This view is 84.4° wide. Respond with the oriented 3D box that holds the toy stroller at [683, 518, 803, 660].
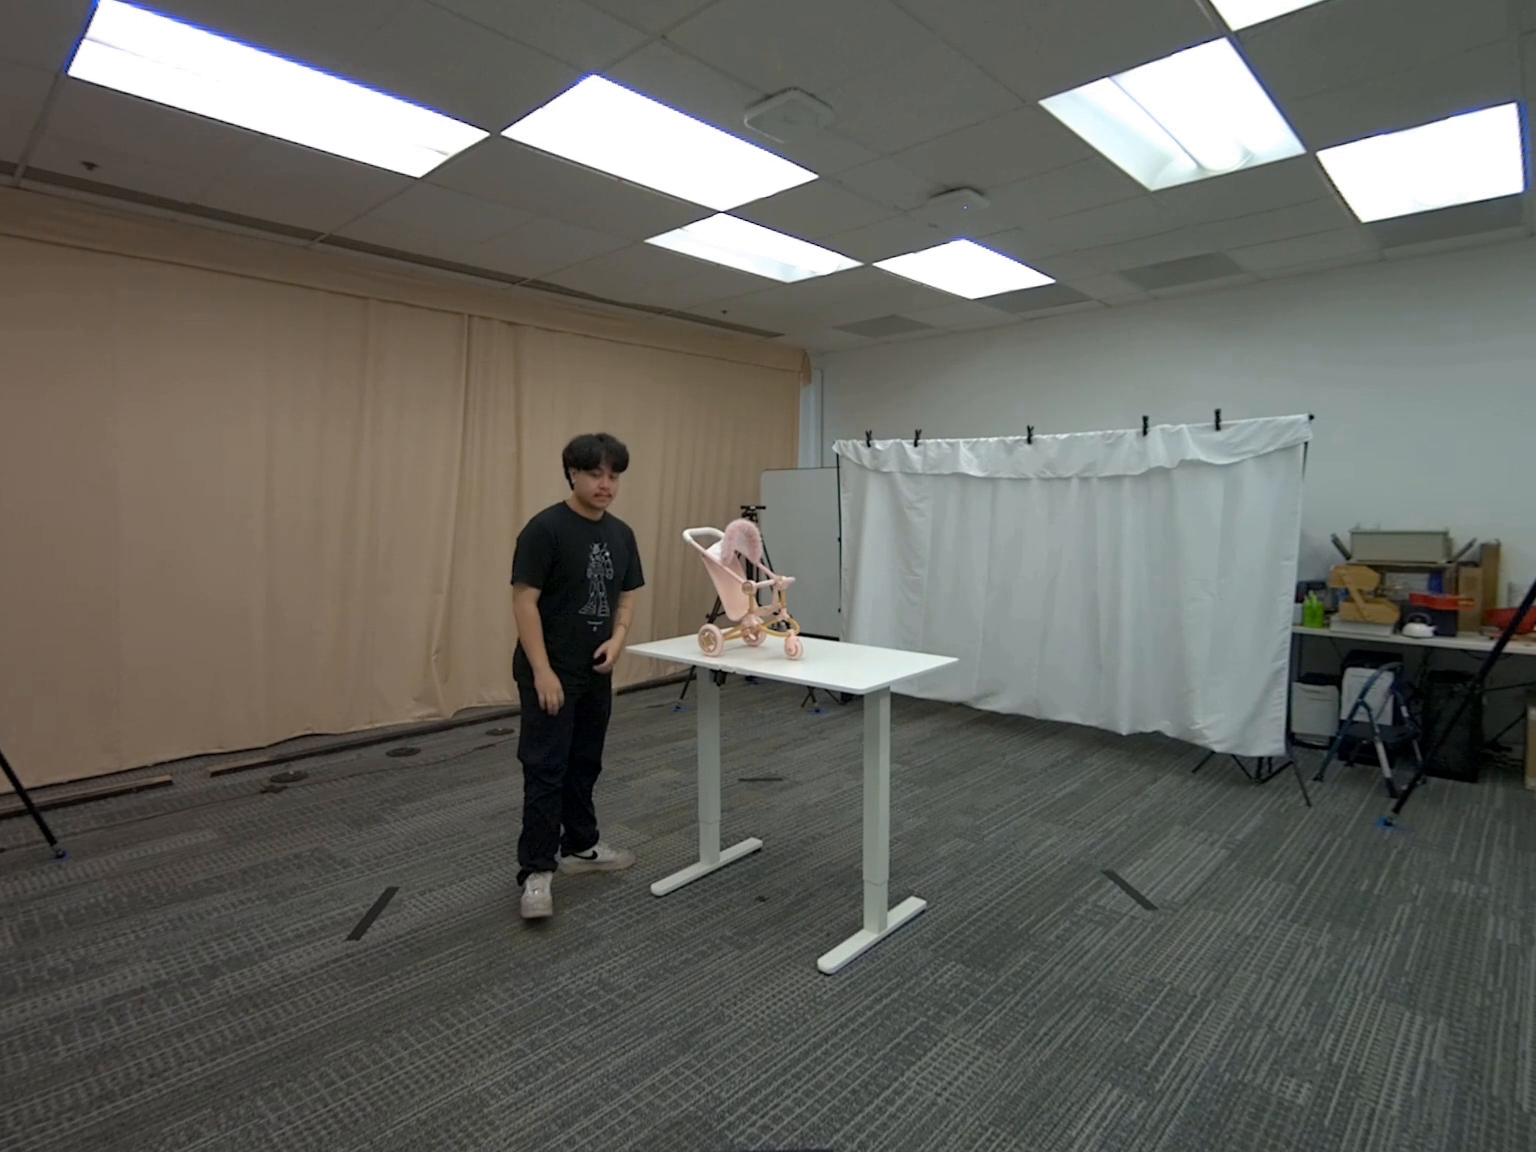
[{"bbox_3d":[-0.066,0.046,2.894,0.350,0.538,0.273,-18,-8,41],"label":"toy stroller"}]
